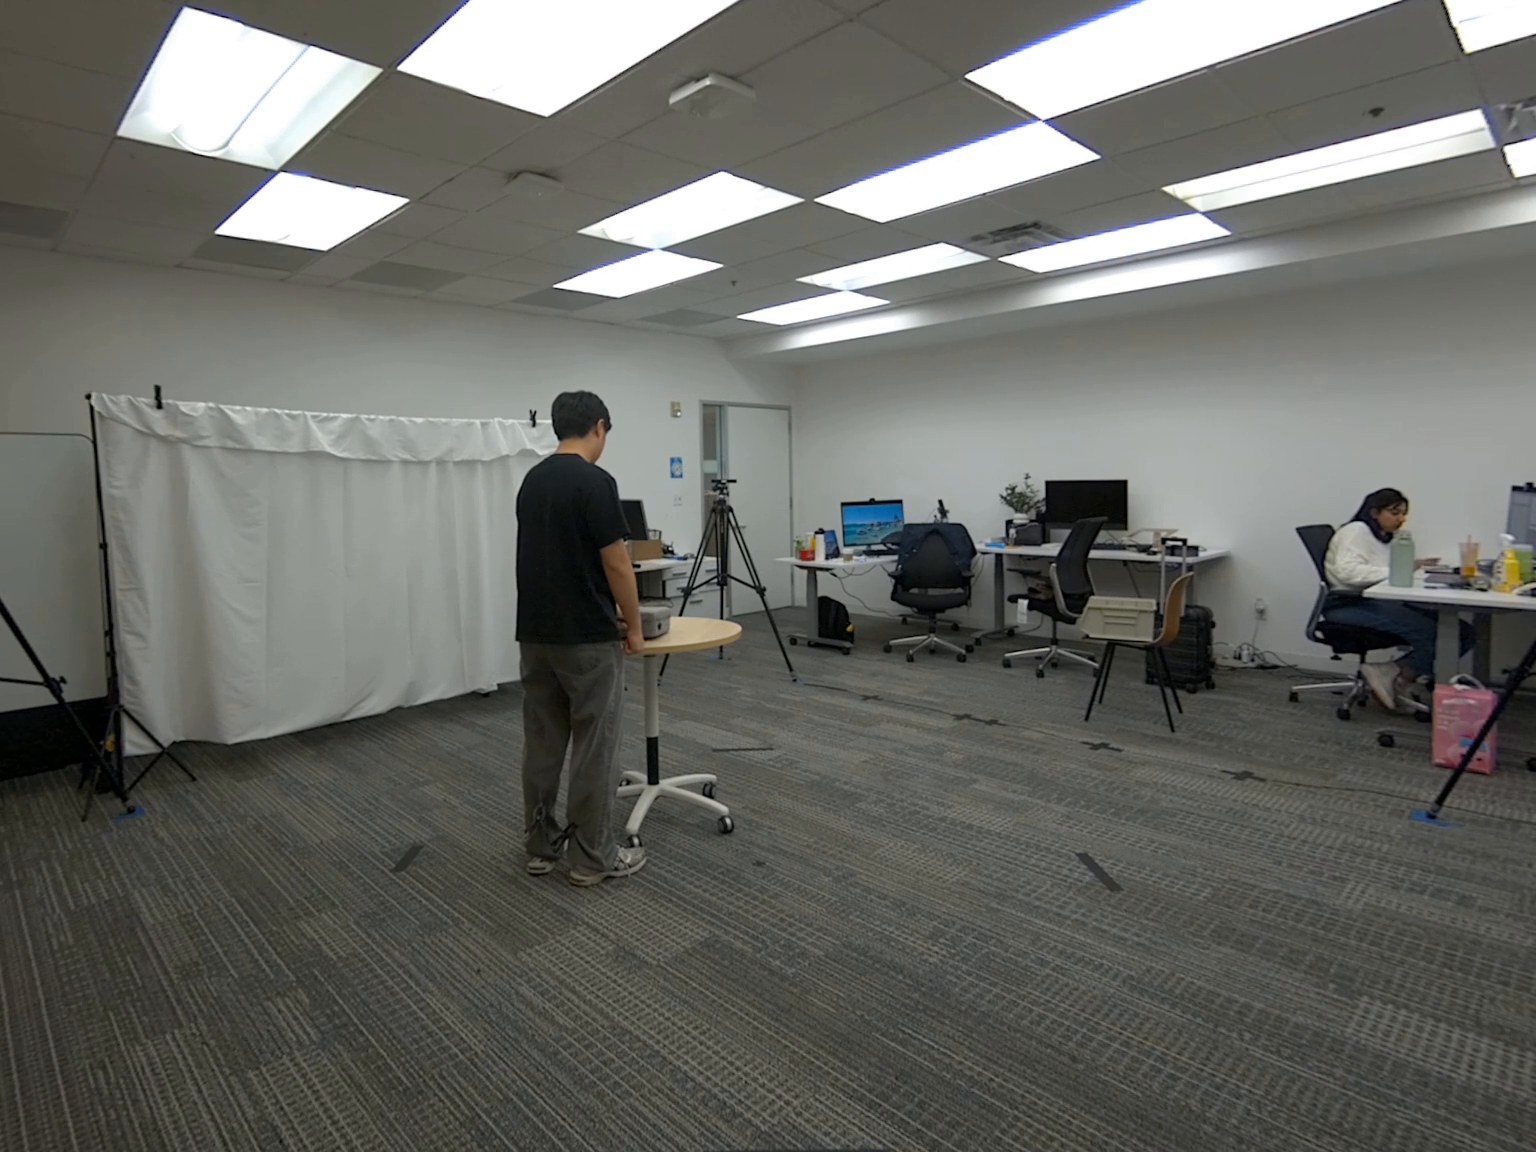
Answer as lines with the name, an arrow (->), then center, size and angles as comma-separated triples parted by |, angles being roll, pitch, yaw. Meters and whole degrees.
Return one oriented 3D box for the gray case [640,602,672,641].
gray case -> -0.529, 0.176, 3.399 | 0.266, 0.103, 0.284 | 1, 1, 9
